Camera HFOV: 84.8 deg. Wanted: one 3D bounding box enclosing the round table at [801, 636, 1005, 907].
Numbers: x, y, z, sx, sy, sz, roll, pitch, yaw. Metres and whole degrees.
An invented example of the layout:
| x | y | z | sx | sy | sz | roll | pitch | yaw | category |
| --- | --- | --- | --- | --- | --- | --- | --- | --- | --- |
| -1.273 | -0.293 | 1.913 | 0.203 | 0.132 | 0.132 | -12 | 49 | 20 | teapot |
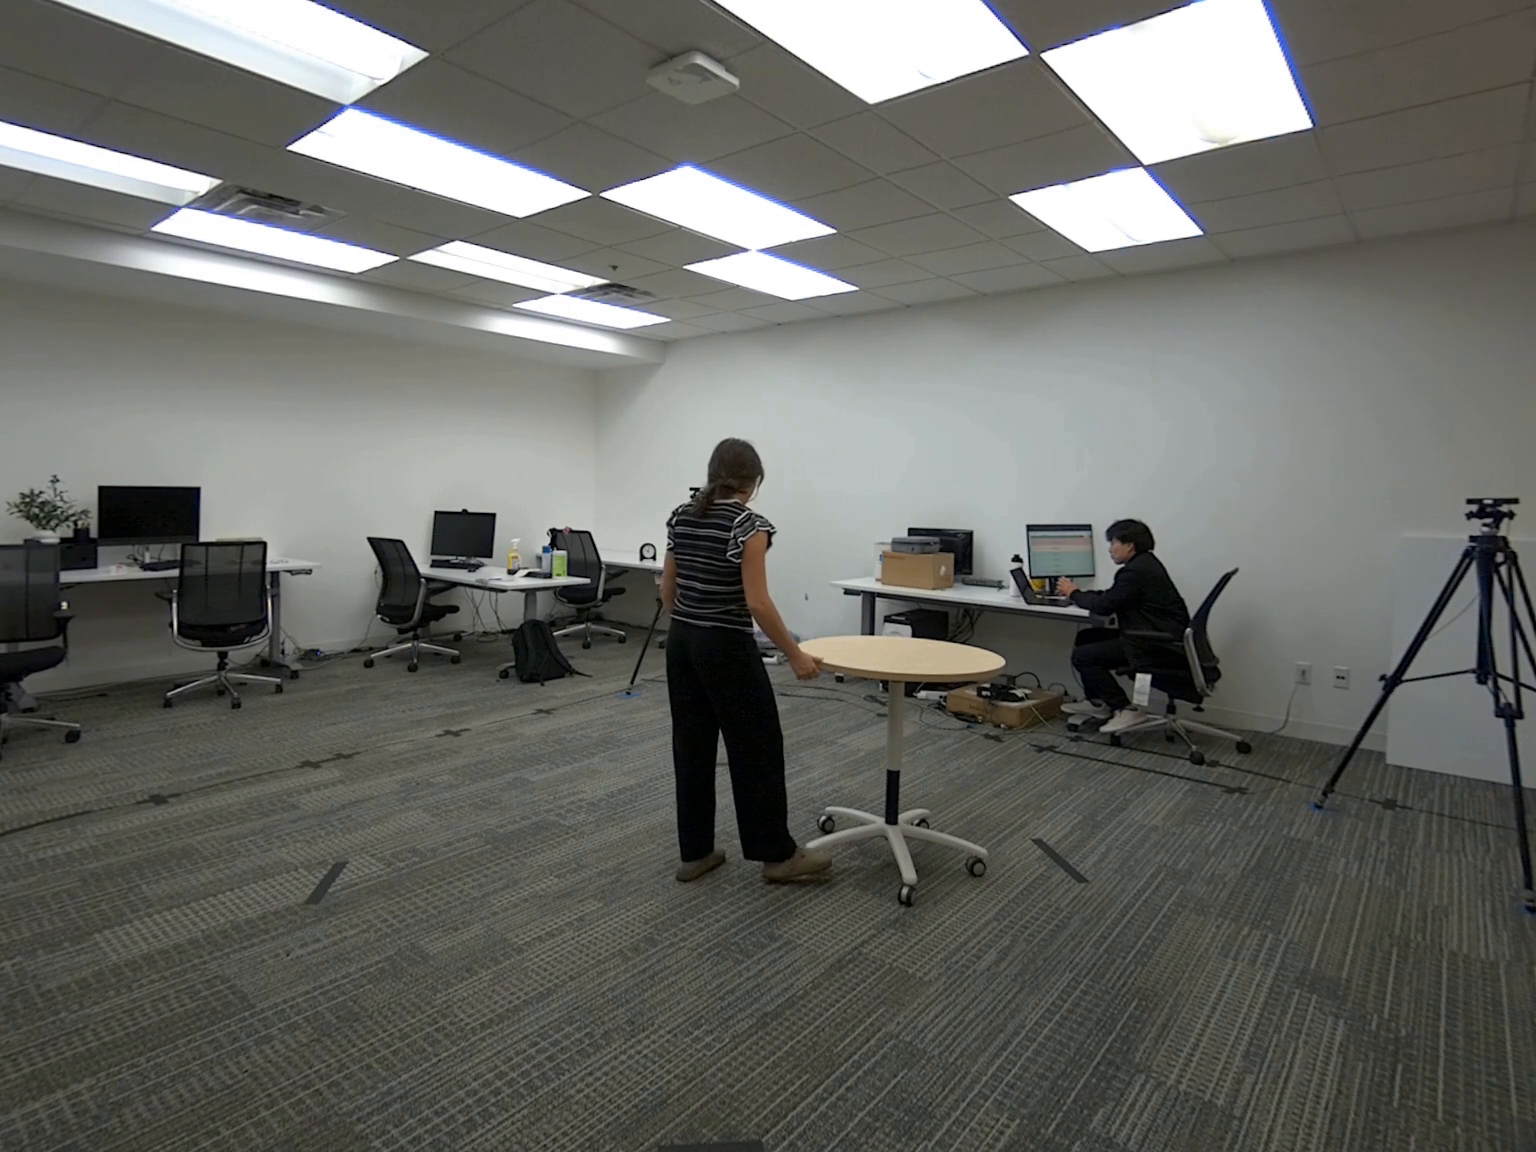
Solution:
| x | y | z | sx | sy | sz | roll | pitch | yaw | category |
| --- | --- | --- | --- | --- | --- | --- | --- | --- | --- |
| 0.469 | 0.684 | 3.203 | 0.763 | 0.791 | 0.768 | 2 | 4 | -2 | round table |
